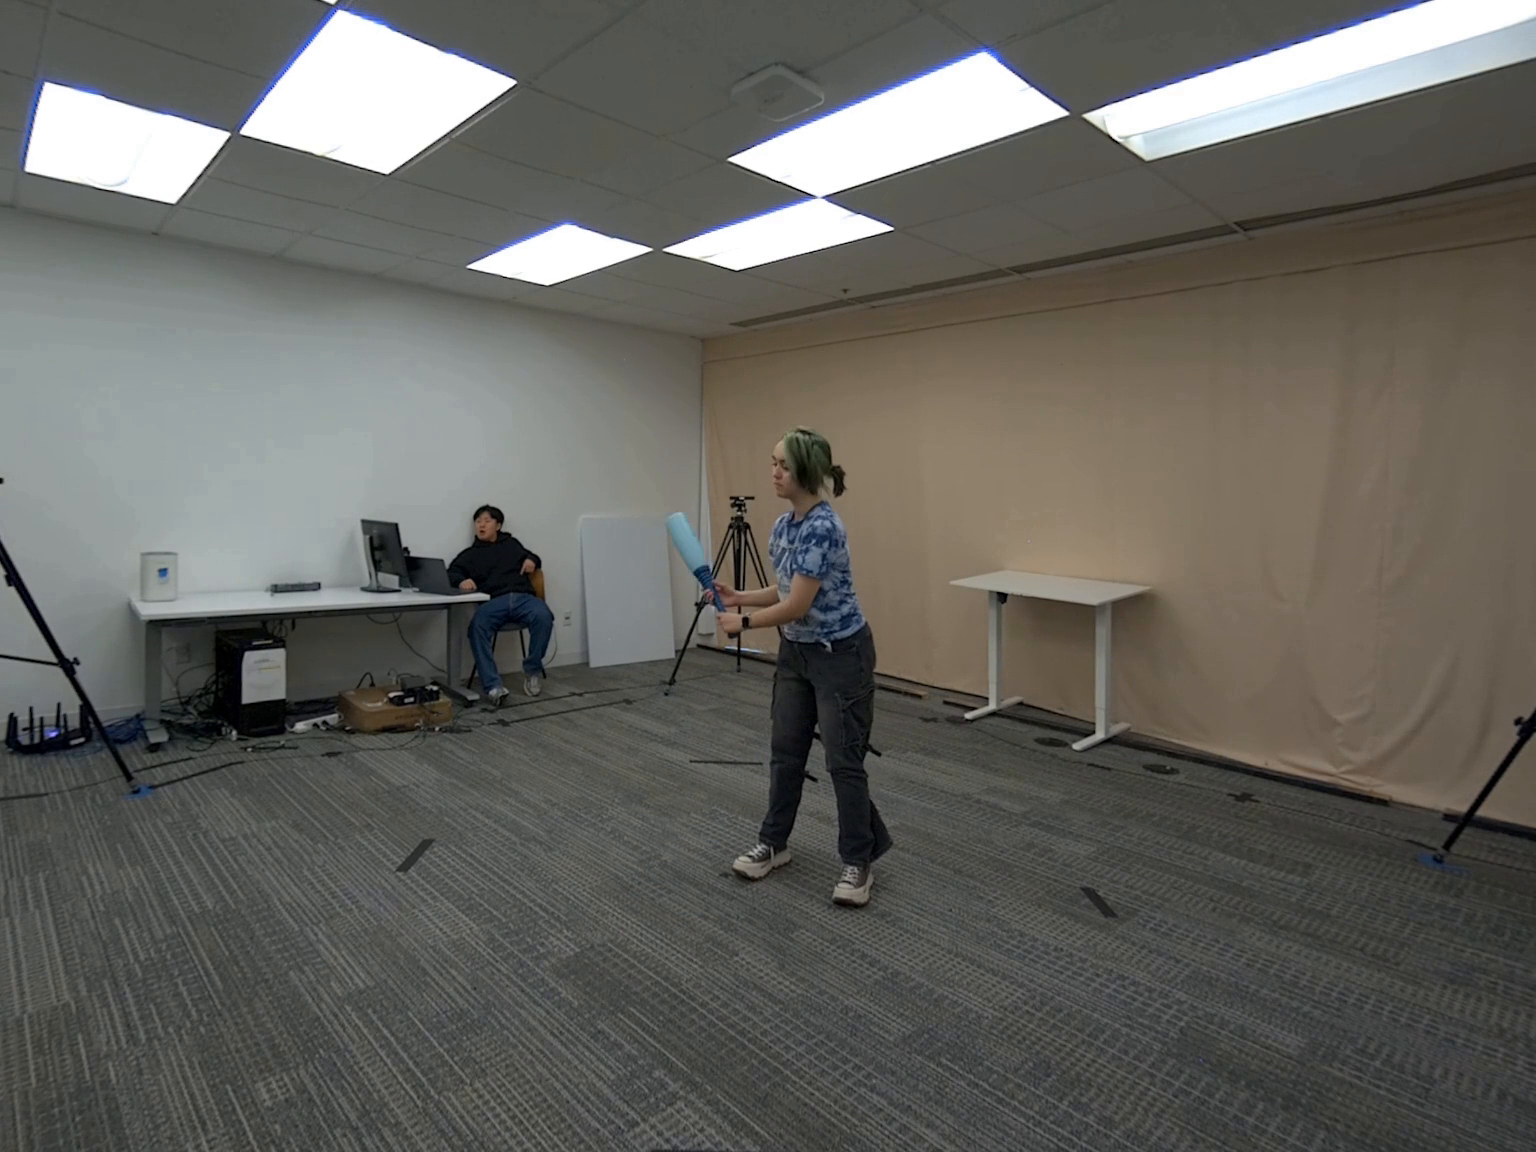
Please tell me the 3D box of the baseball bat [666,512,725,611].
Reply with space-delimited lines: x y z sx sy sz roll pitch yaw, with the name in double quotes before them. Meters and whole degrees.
"baseball bat" -0.239 0.002 3.154 0.088 0.555 0.087 -24 -24 -12
